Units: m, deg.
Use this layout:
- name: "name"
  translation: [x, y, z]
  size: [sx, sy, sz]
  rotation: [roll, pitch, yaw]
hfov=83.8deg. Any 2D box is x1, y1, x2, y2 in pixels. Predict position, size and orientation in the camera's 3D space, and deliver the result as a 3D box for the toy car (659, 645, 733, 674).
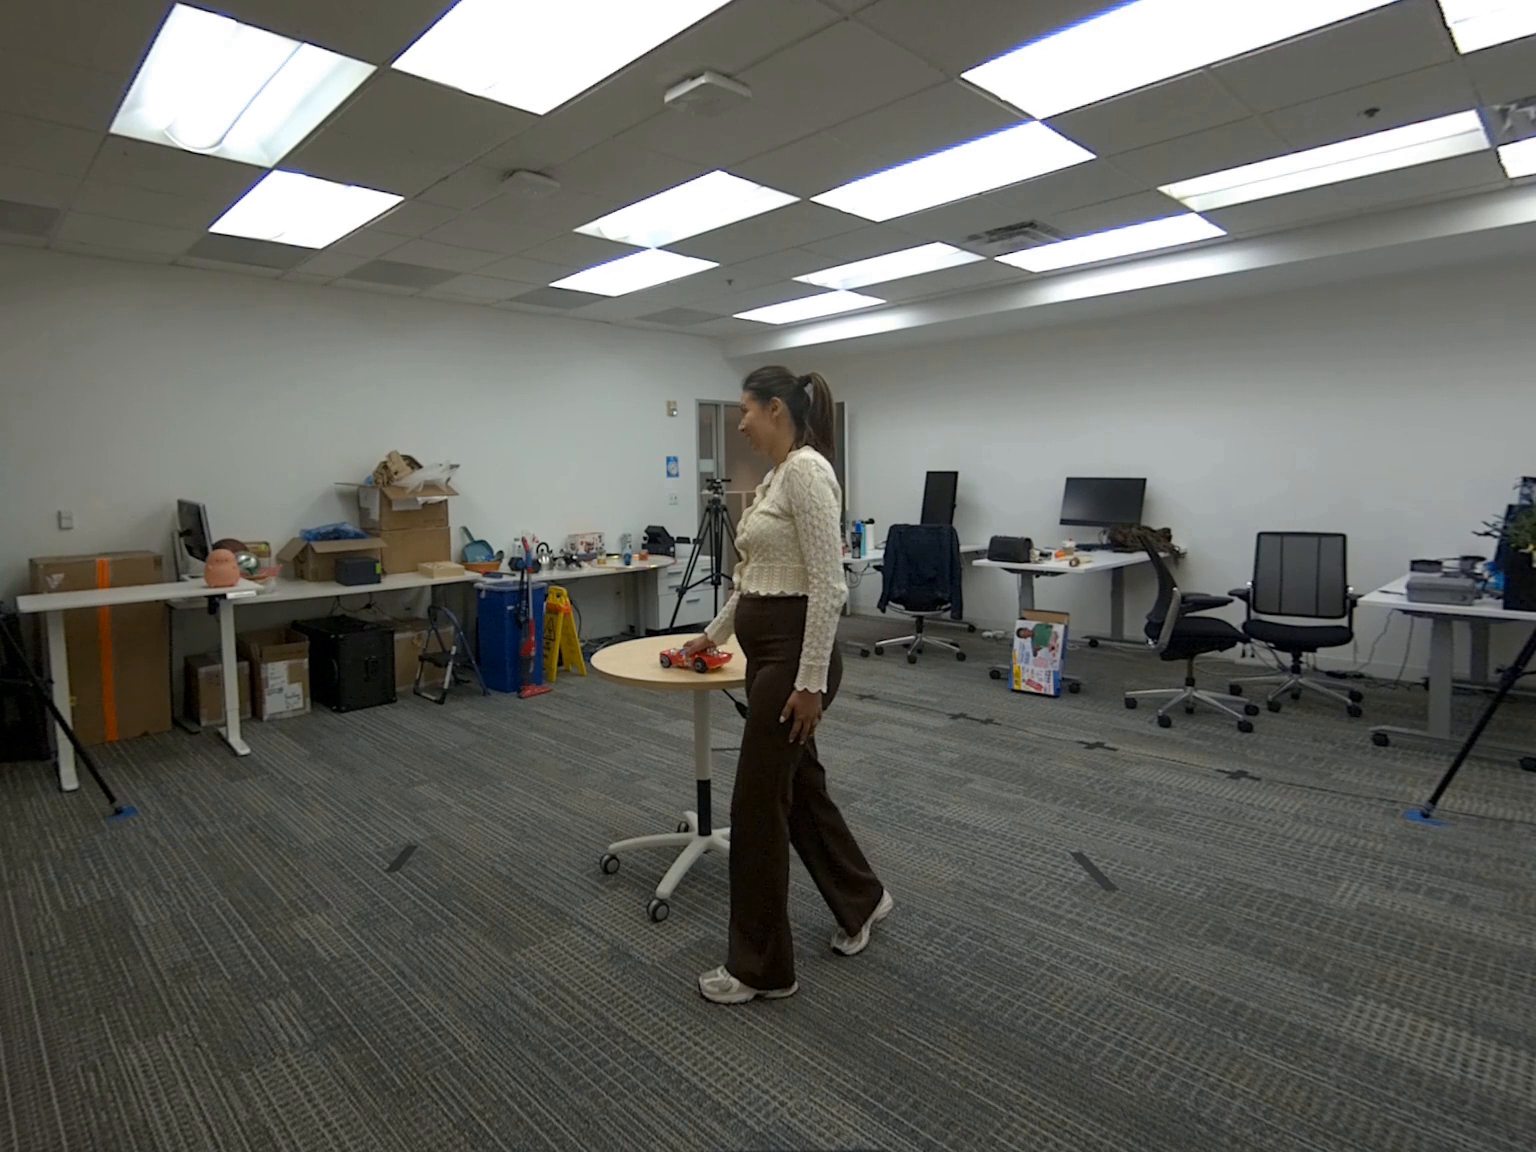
- name: "toy car"
  translation: [-0.224, 0.271, 2.783]
  size: [0.260, 0.083, 0.127]
  rotation: [-9, 0, 35]
